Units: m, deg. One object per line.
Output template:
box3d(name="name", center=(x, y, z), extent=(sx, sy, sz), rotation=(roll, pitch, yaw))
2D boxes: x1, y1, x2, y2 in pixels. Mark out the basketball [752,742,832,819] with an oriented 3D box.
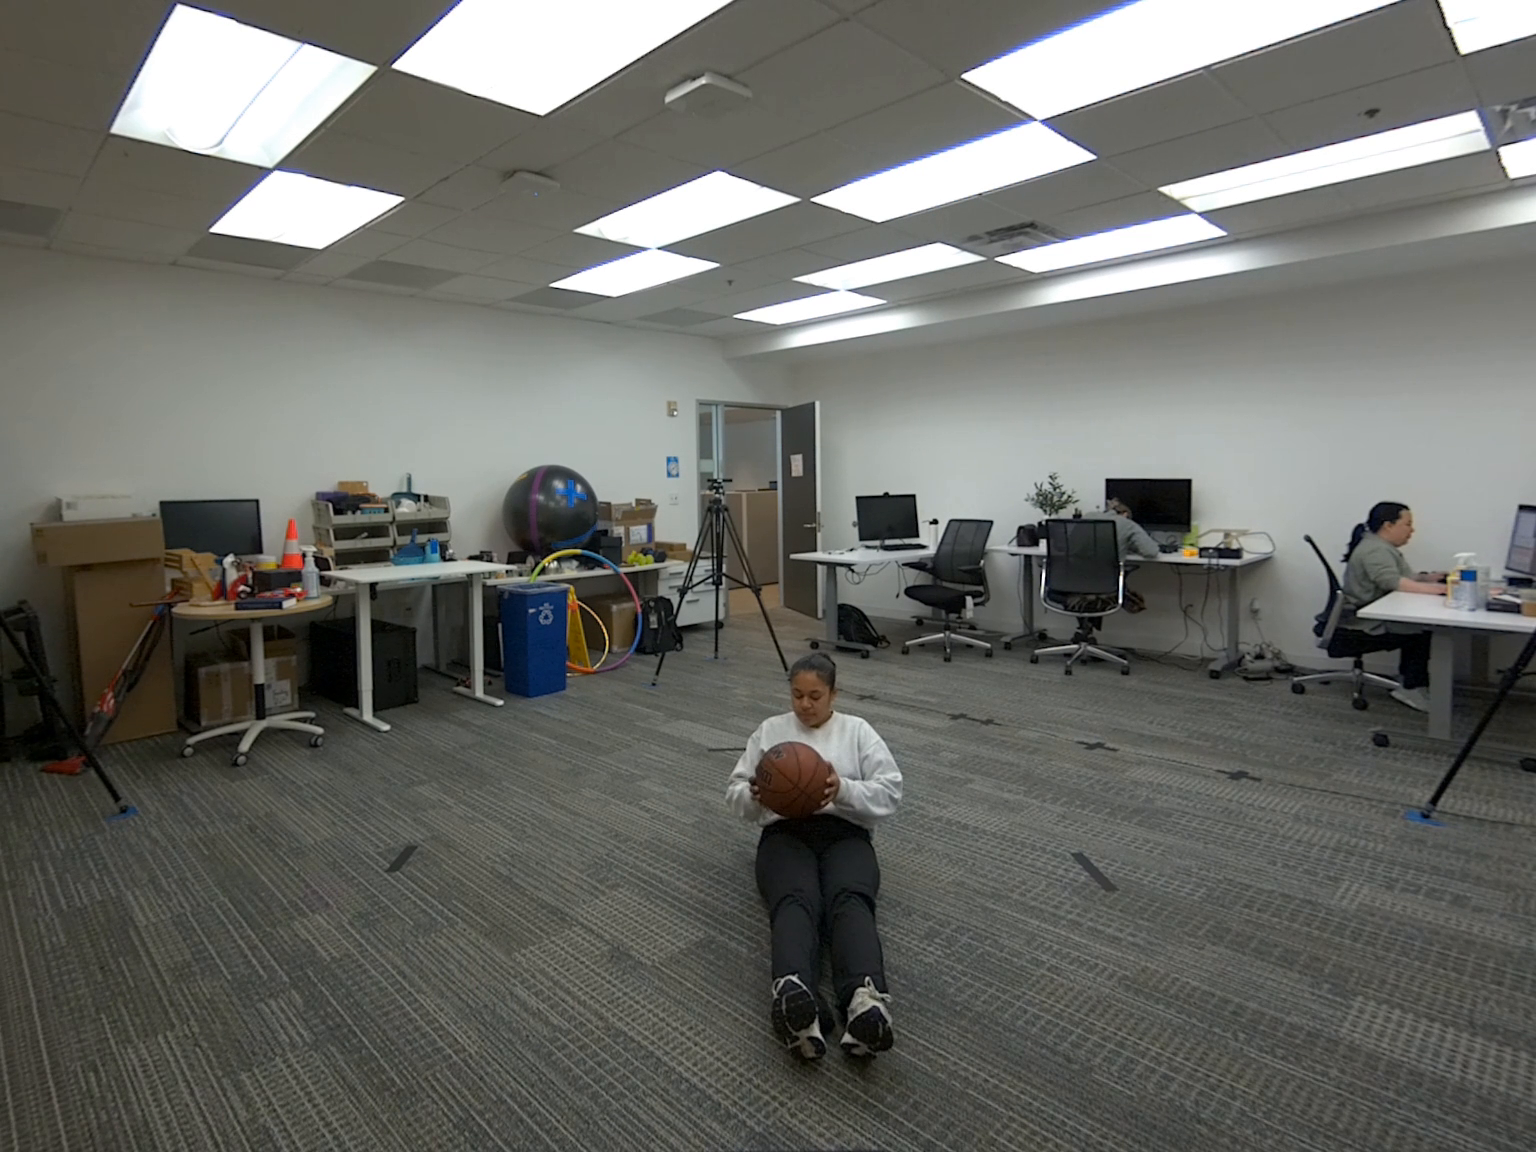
box3d(name="basketball", center=(0.076, 0.656, 2.759), extent=(0.236, 0.235, 0.237), rotation=(-1, 5, -2))
